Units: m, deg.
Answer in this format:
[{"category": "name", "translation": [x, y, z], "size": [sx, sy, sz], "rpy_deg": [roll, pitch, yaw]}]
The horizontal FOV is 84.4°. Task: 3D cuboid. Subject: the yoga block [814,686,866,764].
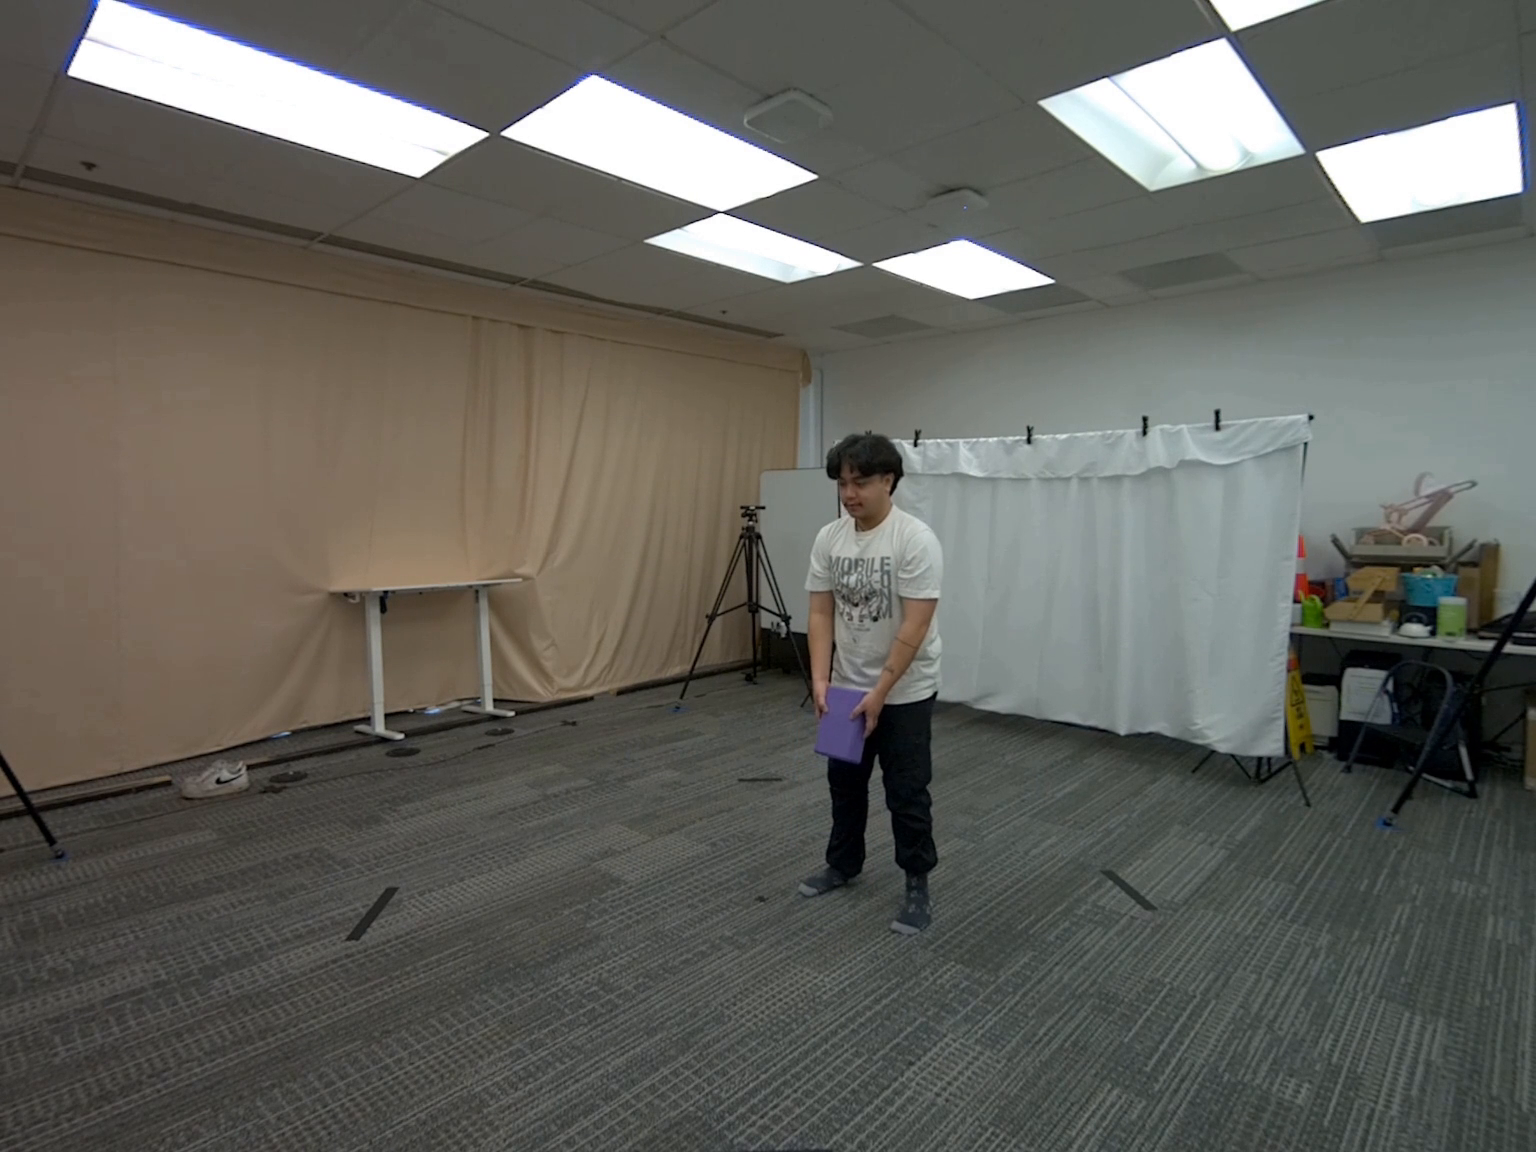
[{"category": "yoga block", "translation": [0.257, 0.491, 2.795], "size": [0.154, 0.230, 0.073], "rpy_deg": [4, -14, 40]}]
